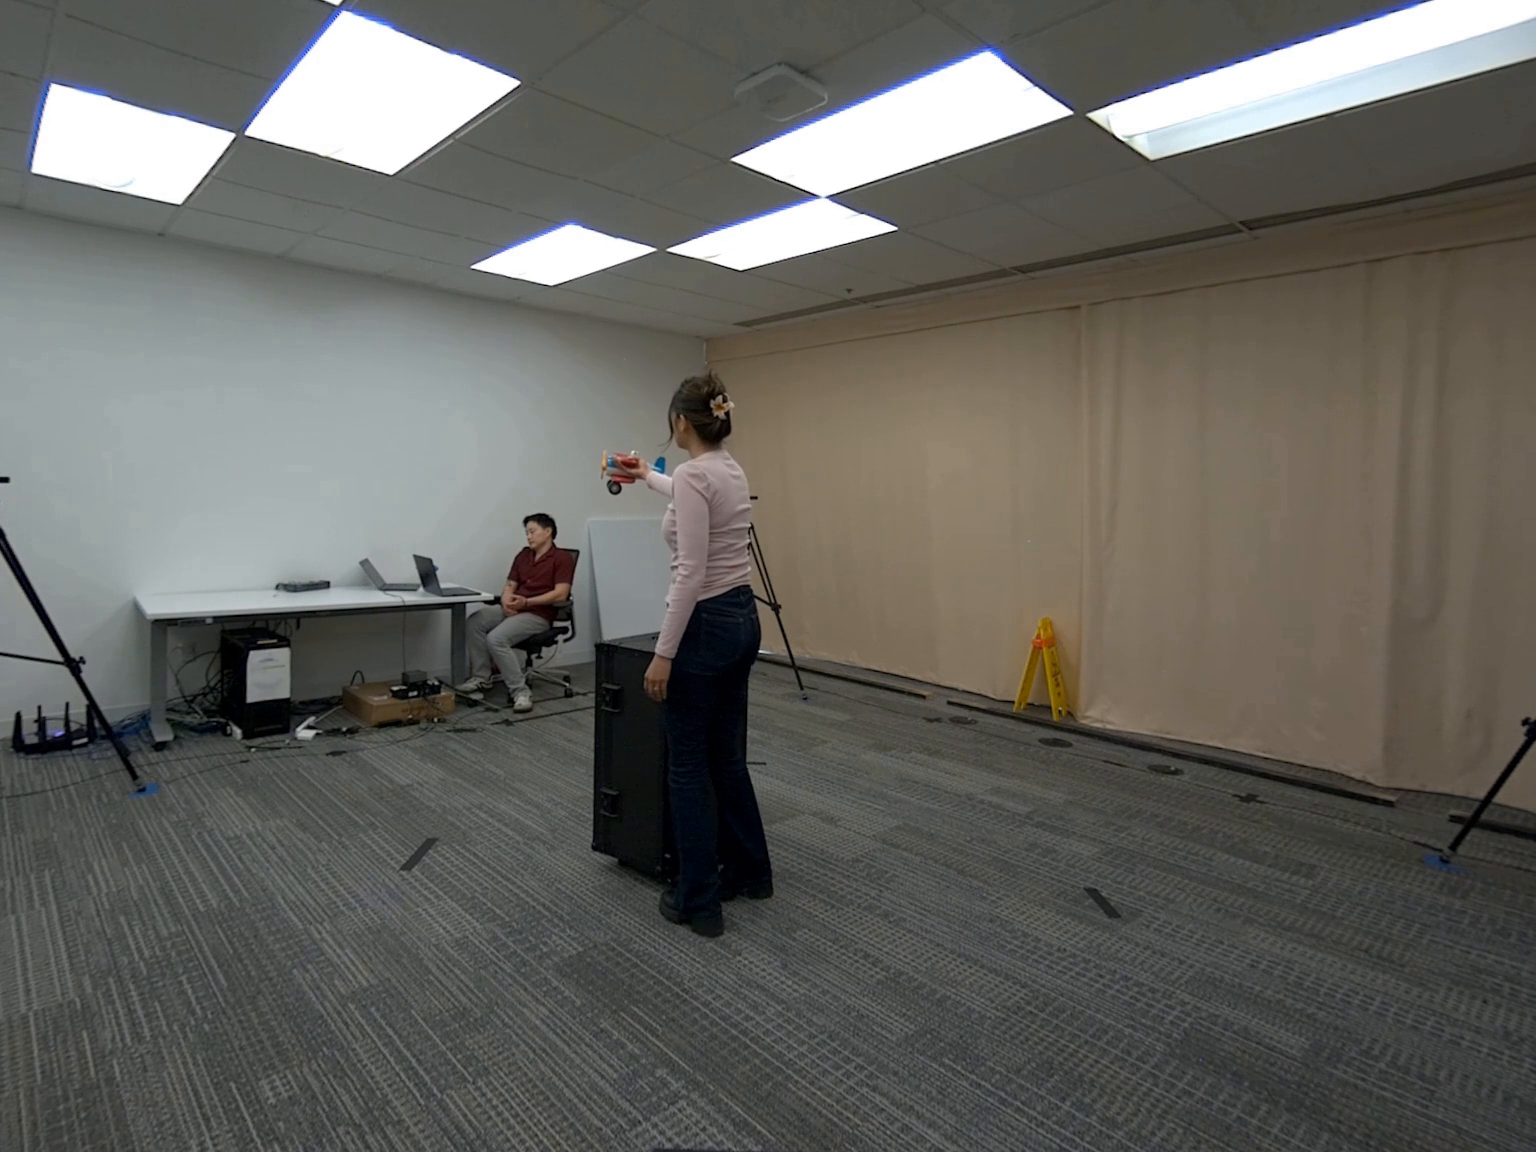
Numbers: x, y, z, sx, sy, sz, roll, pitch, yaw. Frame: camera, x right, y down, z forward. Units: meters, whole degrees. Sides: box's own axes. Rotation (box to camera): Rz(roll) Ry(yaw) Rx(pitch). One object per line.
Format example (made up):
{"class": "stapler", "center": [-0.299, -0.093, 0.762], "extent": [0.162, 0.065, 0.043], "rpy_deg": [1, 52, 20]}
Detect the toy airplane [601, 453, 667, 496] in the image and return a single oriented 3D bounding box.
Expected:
{"class": "toy airplane", "center": [-0.559, -0.427, 3.428], "extent": [0.255, 0.155, 0.258], "rpy_deg": [-16, 19, -38]}
